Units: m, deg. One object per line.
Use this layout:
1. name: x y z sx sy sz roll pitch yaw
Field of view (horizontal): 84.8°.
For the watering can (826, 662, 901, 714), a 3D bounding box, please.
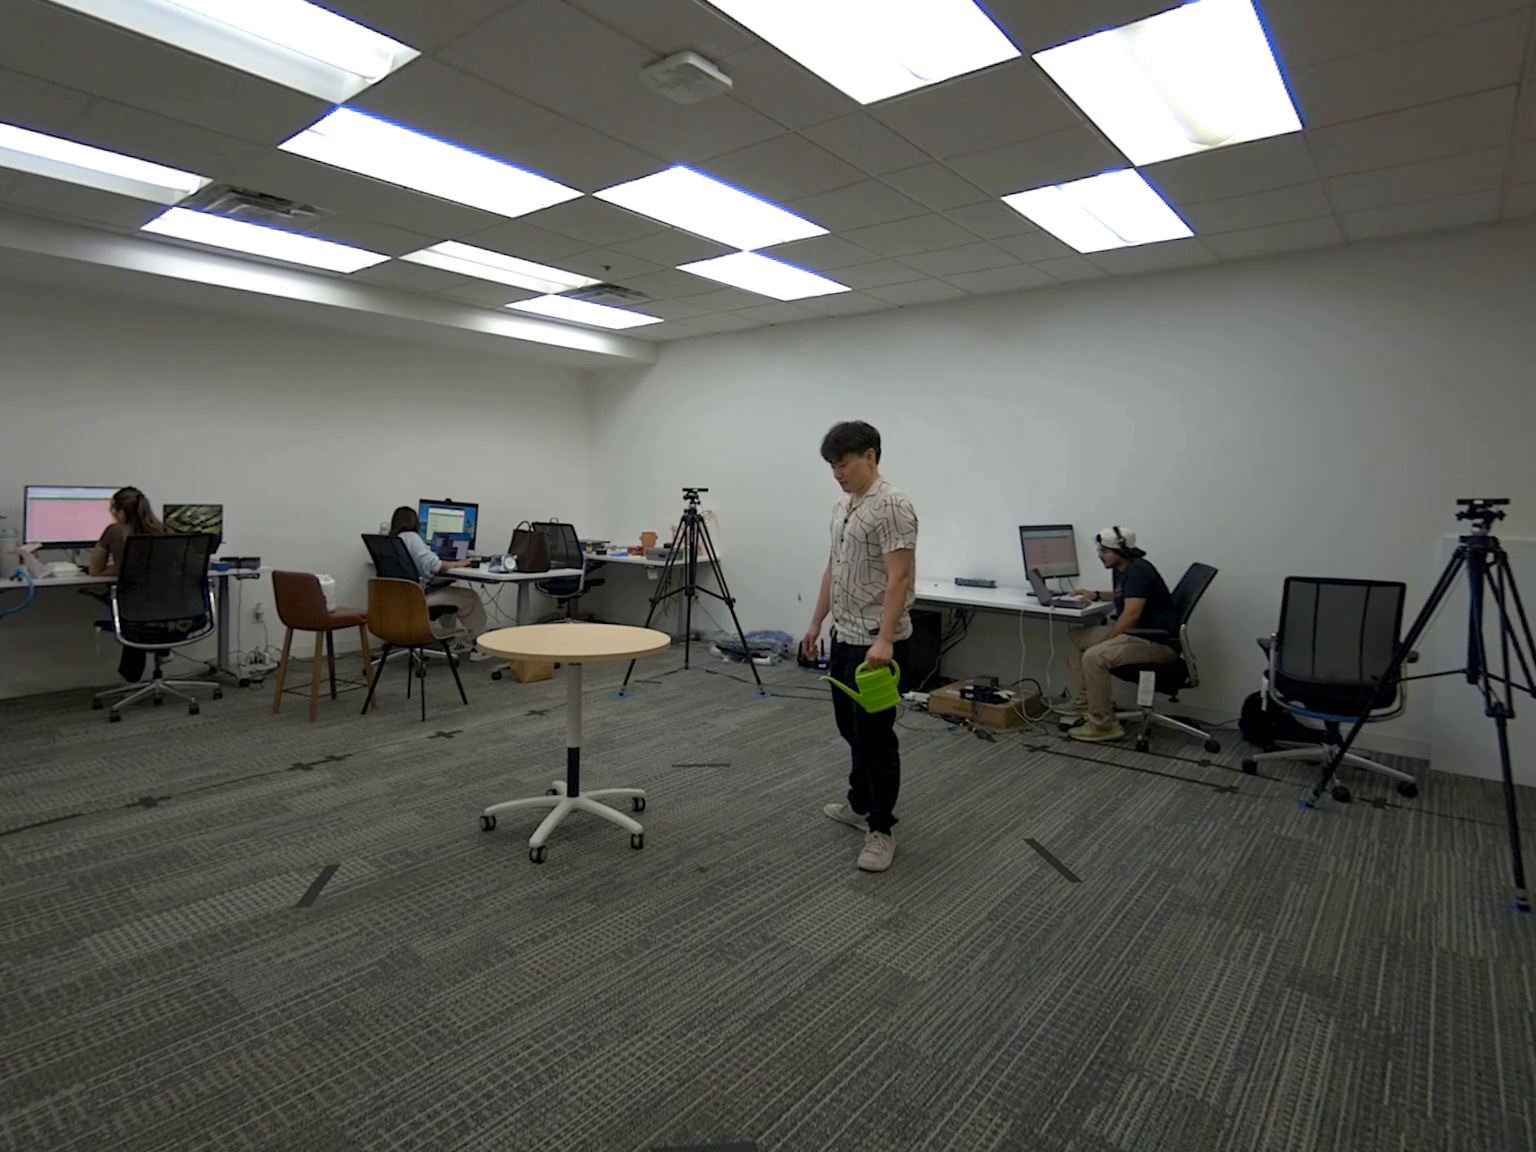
1. watering can: 0.334 0.392 3.064 0.281 0.177 0.097 -17 -1 11
